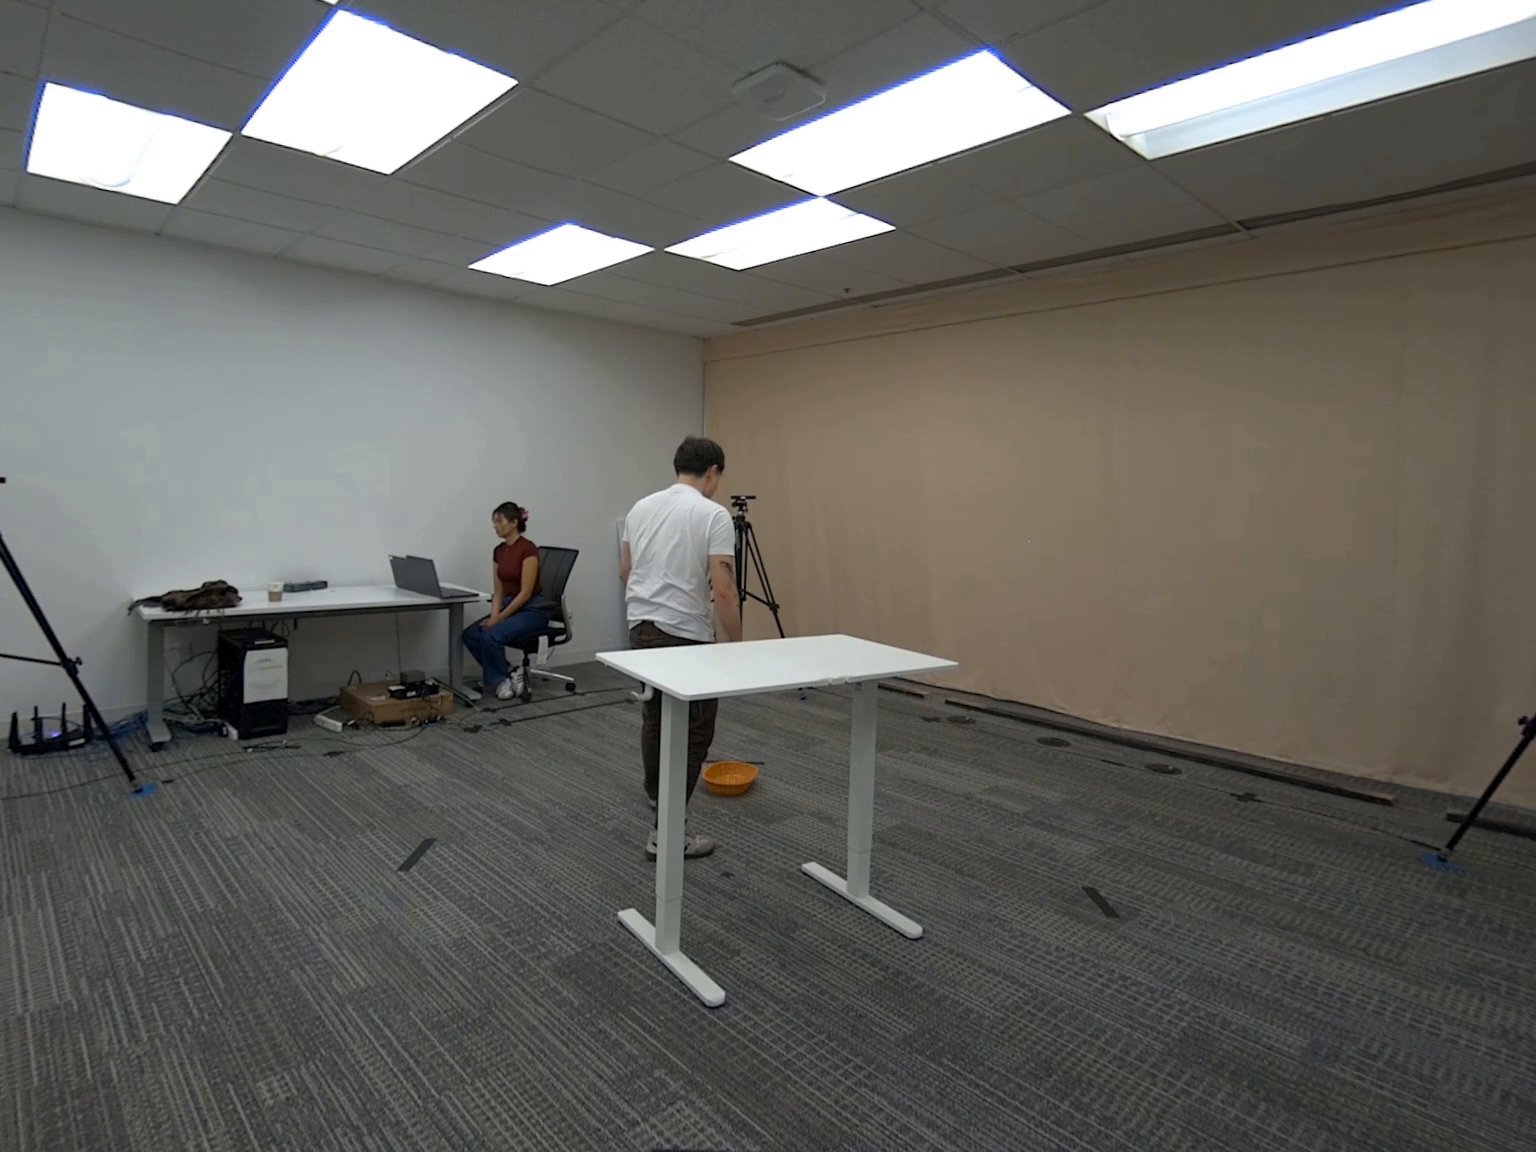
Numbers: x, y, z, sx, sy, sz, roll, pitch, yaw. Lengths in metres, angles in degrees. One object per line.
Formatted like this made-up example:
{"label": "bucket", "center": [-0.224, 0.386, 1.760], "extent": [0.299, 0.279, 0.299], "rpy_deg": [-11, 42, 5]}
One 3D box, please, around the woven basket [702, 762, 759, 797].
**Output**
{"label": "woven basket", "center": [-0.193, 0.980, 4.067], "extent": [0.256, 0.073, 0.346], "rpy_deg": [4, 5, 15]}
